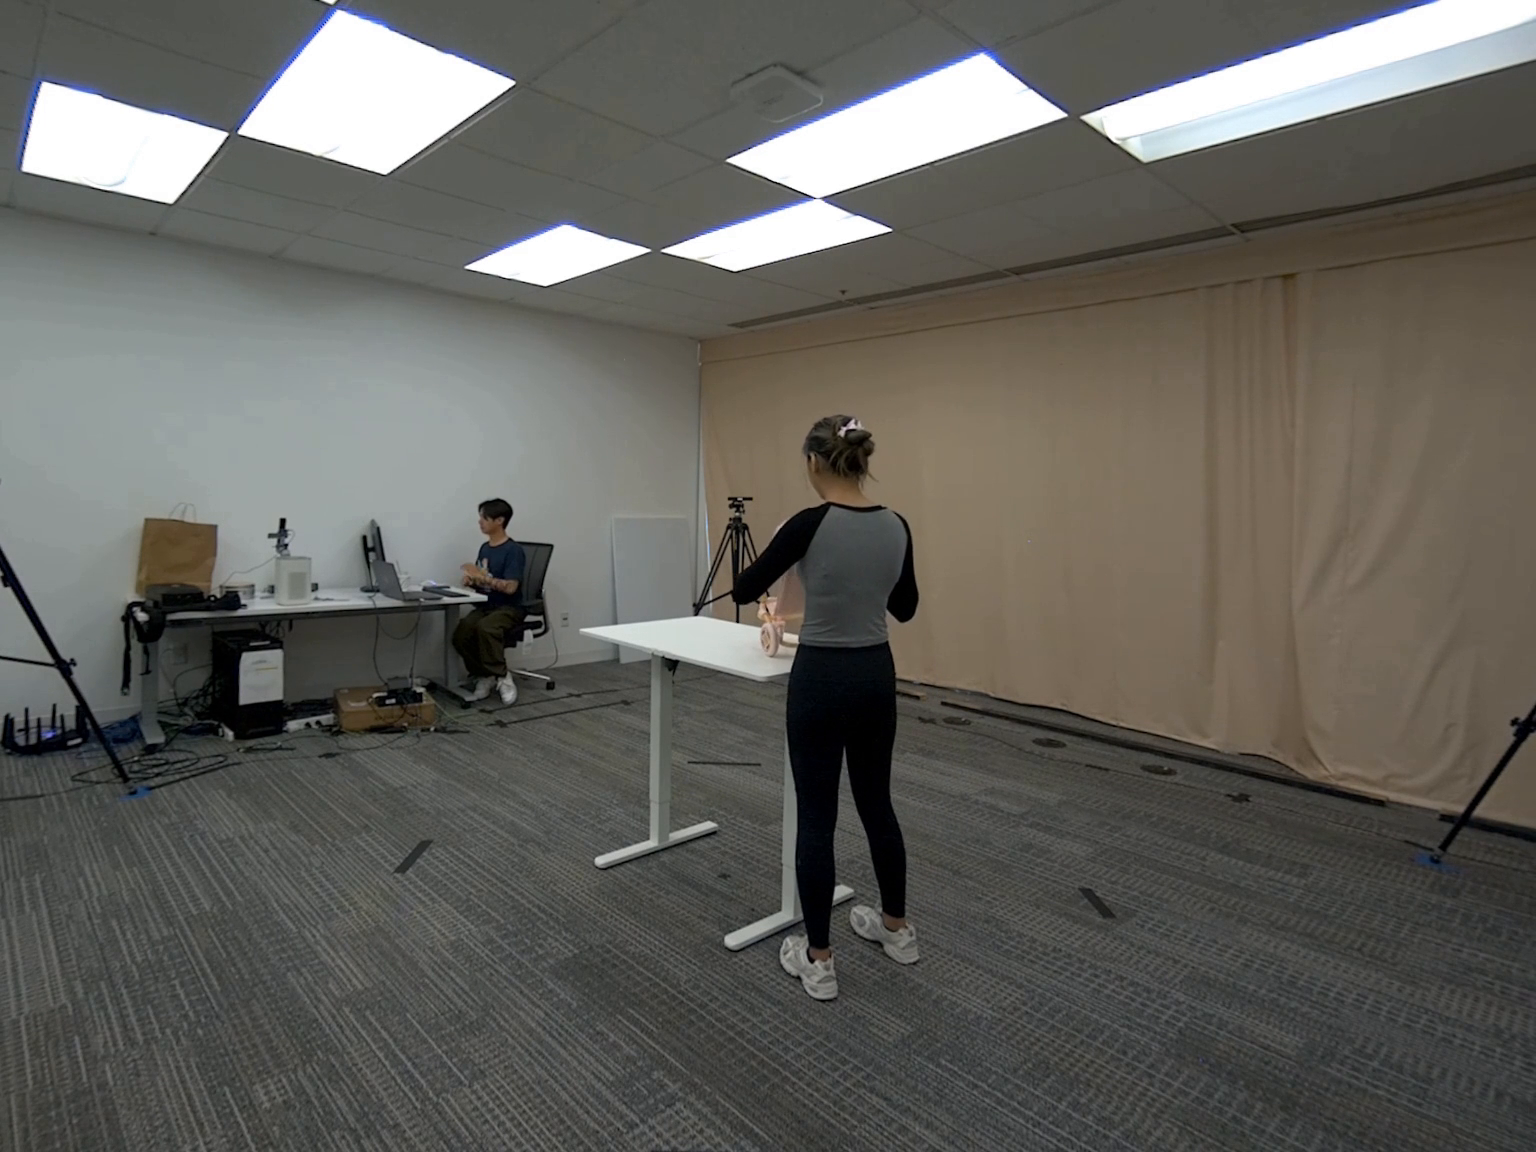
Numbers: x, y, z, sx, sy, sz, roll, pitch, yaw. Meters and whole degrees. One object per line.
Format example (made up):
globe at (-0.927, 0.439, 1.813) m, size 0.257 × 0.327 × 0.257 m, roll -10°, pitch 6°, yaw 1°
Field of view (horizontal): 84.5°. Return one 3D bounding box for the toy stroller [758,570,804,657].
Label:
toy stroller at (0.098, 0.036, 2.831) m, size 0.278 × 0.528 × 0.350 m, roll 0°, pitch 21°, yaw -16°
